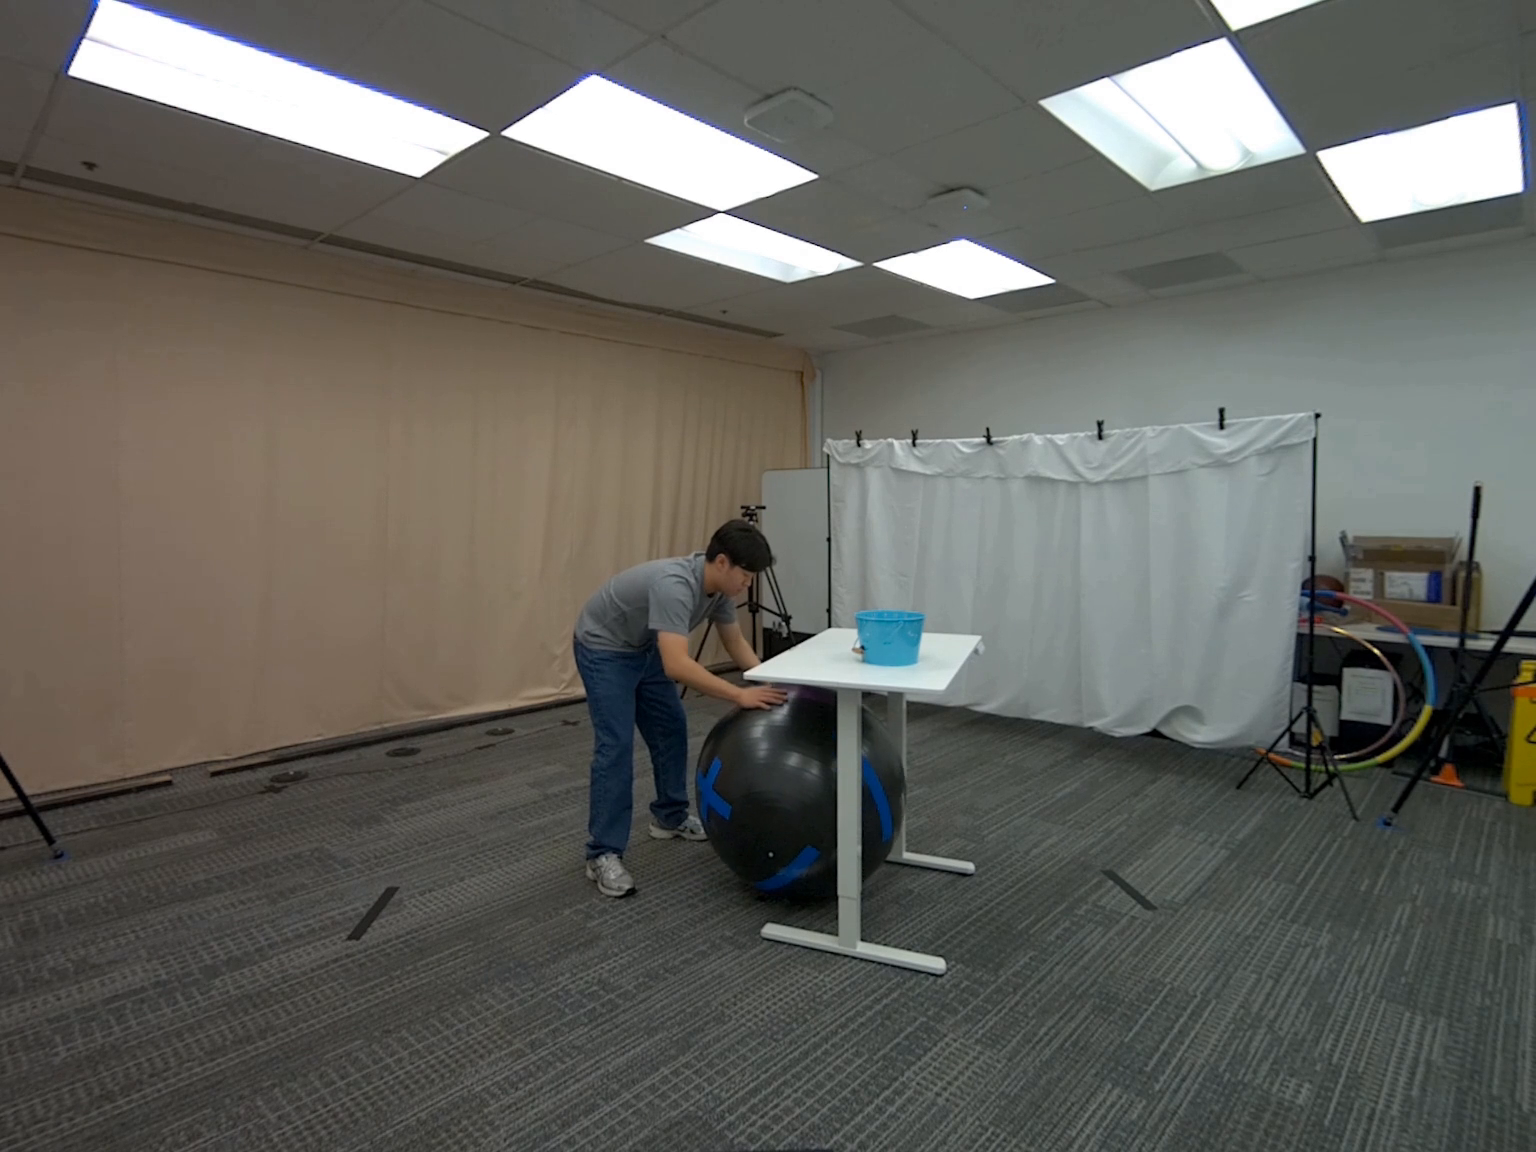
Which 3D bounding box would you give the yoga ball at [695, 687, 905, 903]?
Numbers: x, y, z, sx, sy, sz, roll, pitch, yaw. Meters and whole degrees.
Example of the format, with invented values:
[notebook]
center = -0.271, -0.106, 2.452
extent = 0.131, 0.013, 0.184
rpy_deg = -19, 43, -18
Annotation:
[yoga ball]
center = 0.114, 0.768, 3.066
extent = 0.757, 0.756, 0.760
rpy_deg = 0, 4, -2
